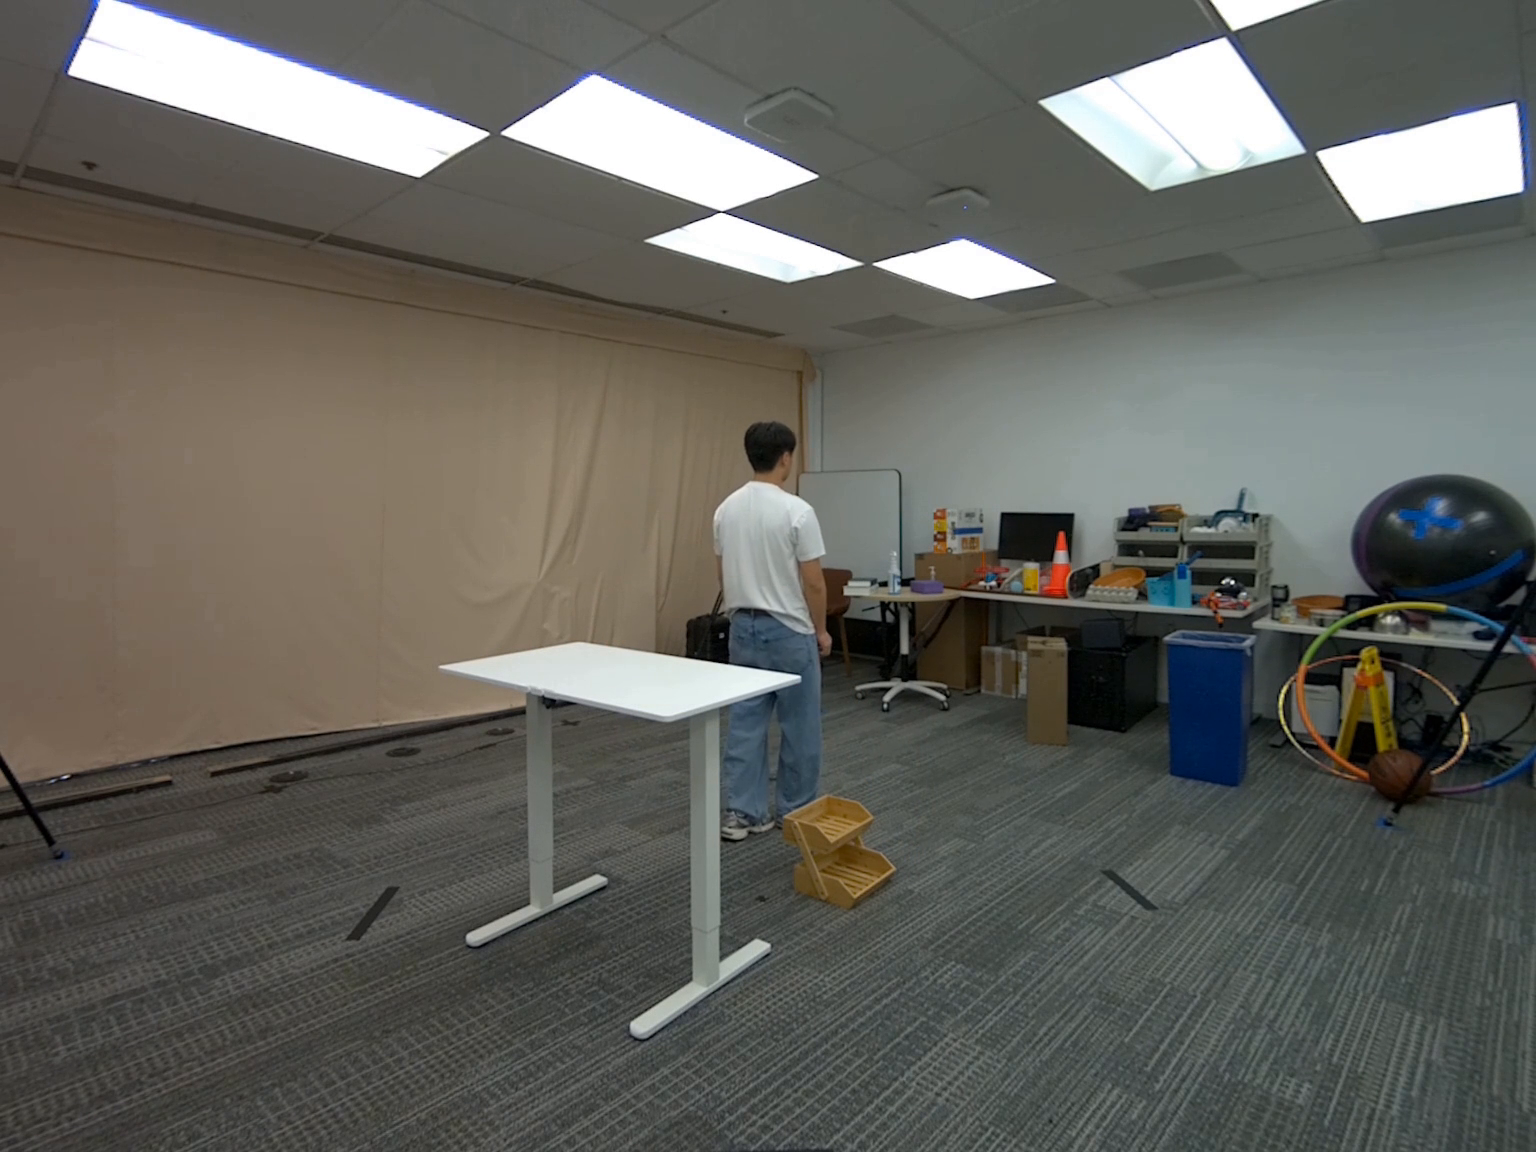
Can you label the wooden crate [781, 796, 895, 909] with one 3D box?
[{"bbox_3d":[0.268,0.997,3.089,0.312,0.273,0.315,2,5,37],"label":"wooden crate"}]
